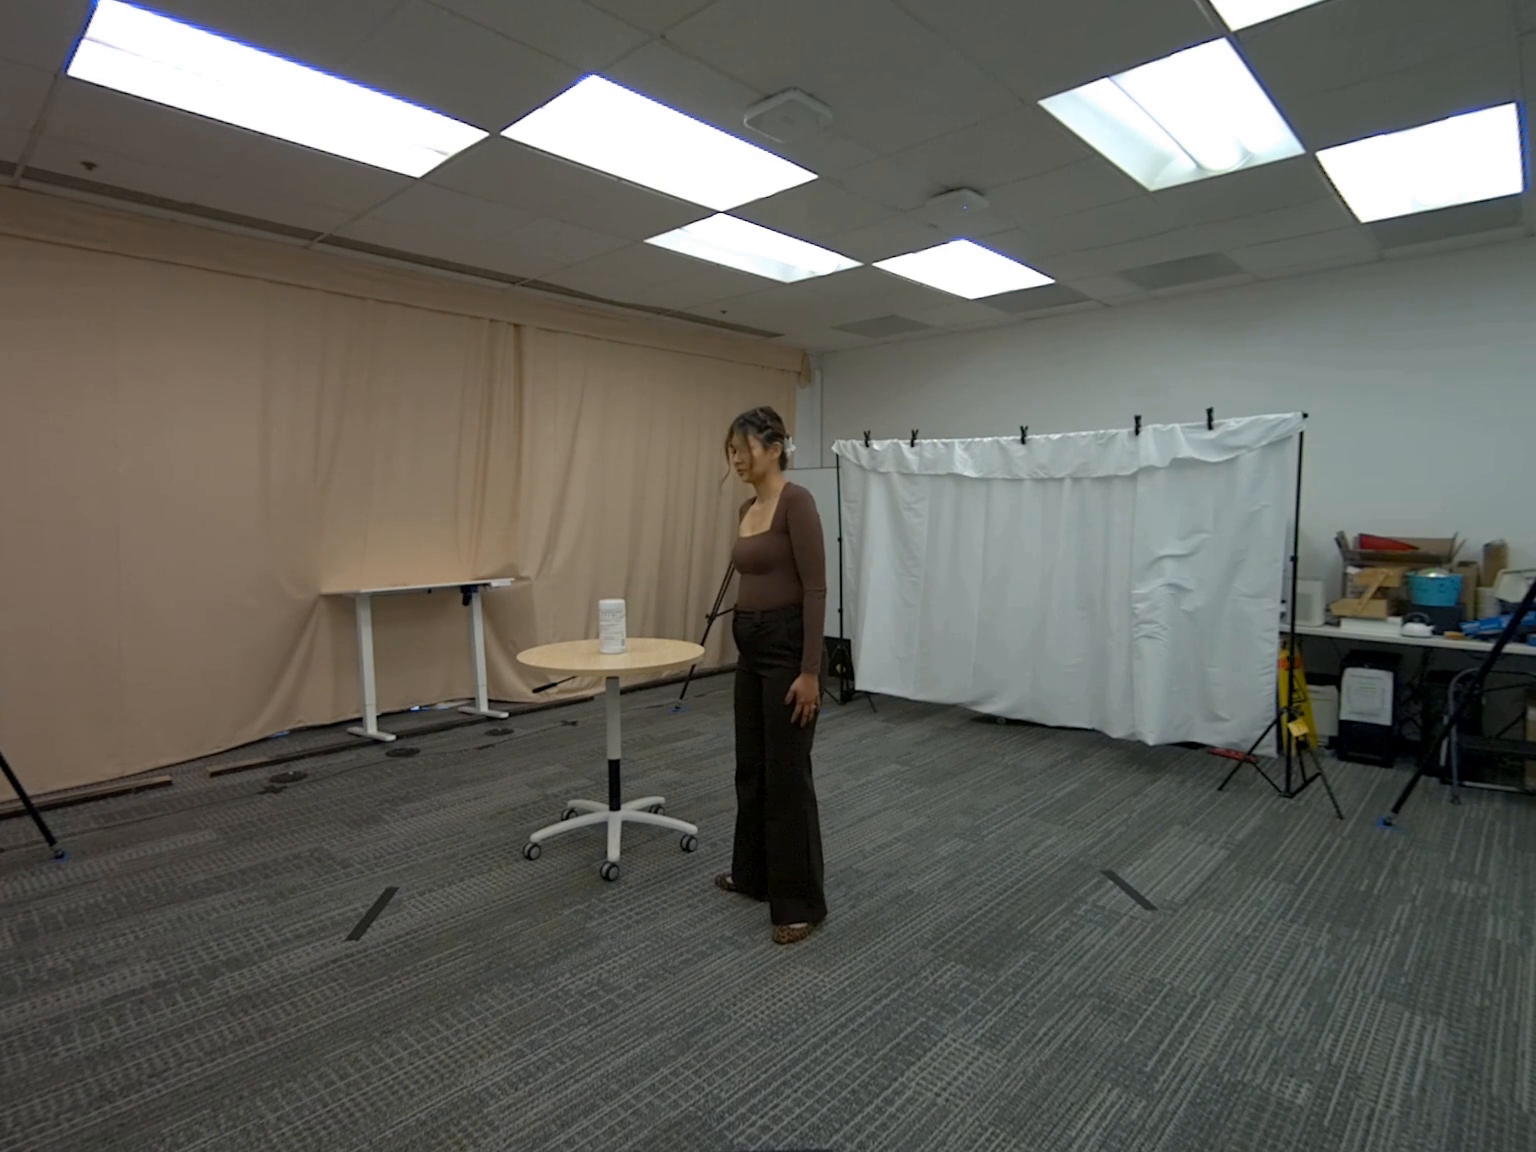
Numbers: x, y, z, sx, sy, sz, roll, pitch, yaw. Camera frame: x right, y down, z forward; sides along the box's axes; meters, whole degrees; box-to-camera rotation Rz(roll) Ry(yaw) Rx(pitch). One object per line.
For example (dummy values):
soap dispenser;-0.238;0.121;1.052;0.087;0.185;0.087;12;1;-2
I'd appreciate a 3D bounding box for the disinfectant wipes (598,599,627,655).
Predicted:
disinfectant wipes;-0.641;0.208;3.461;0.118;0.217;0.118;-1;3;-2
